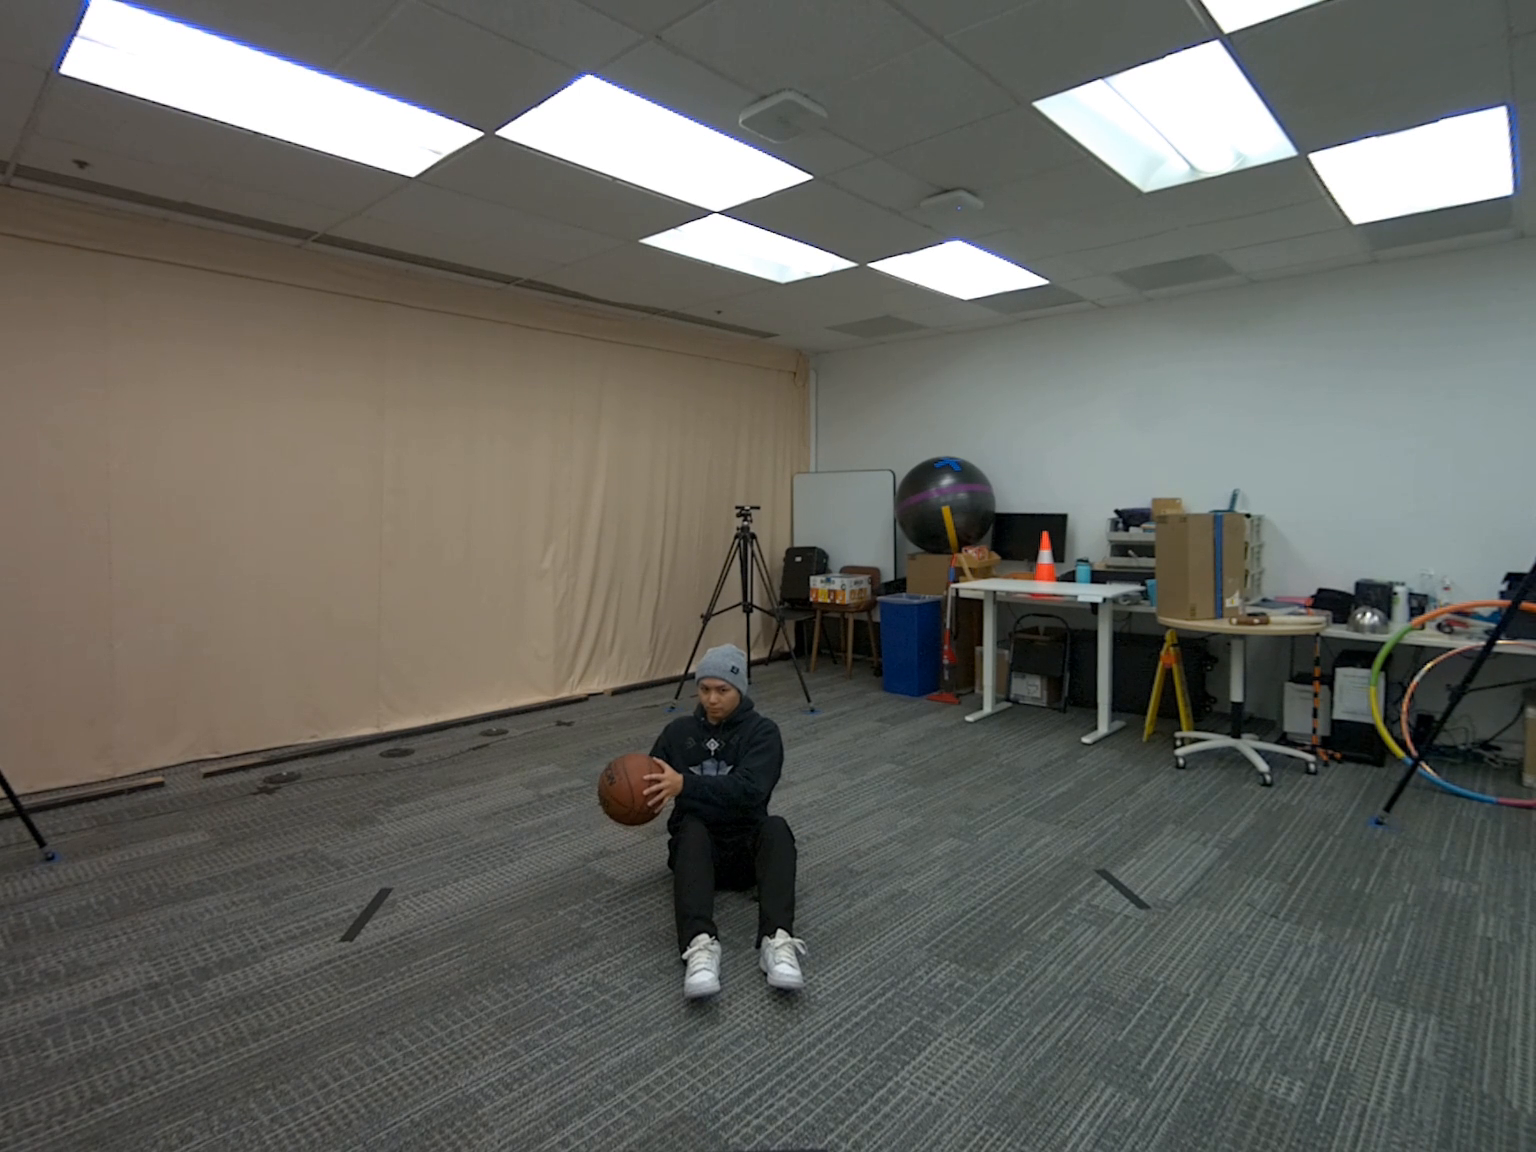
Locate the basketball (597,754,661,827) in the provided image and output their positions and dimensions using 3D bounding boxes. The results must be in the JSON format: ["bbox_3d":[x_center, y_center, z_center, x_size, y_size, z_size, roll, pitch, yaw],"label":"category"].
[{"bbox_3d":[-0.453,0.720,2.849,0.236,0.235,0.237,0,4,-2],"label":"basketball"}]
